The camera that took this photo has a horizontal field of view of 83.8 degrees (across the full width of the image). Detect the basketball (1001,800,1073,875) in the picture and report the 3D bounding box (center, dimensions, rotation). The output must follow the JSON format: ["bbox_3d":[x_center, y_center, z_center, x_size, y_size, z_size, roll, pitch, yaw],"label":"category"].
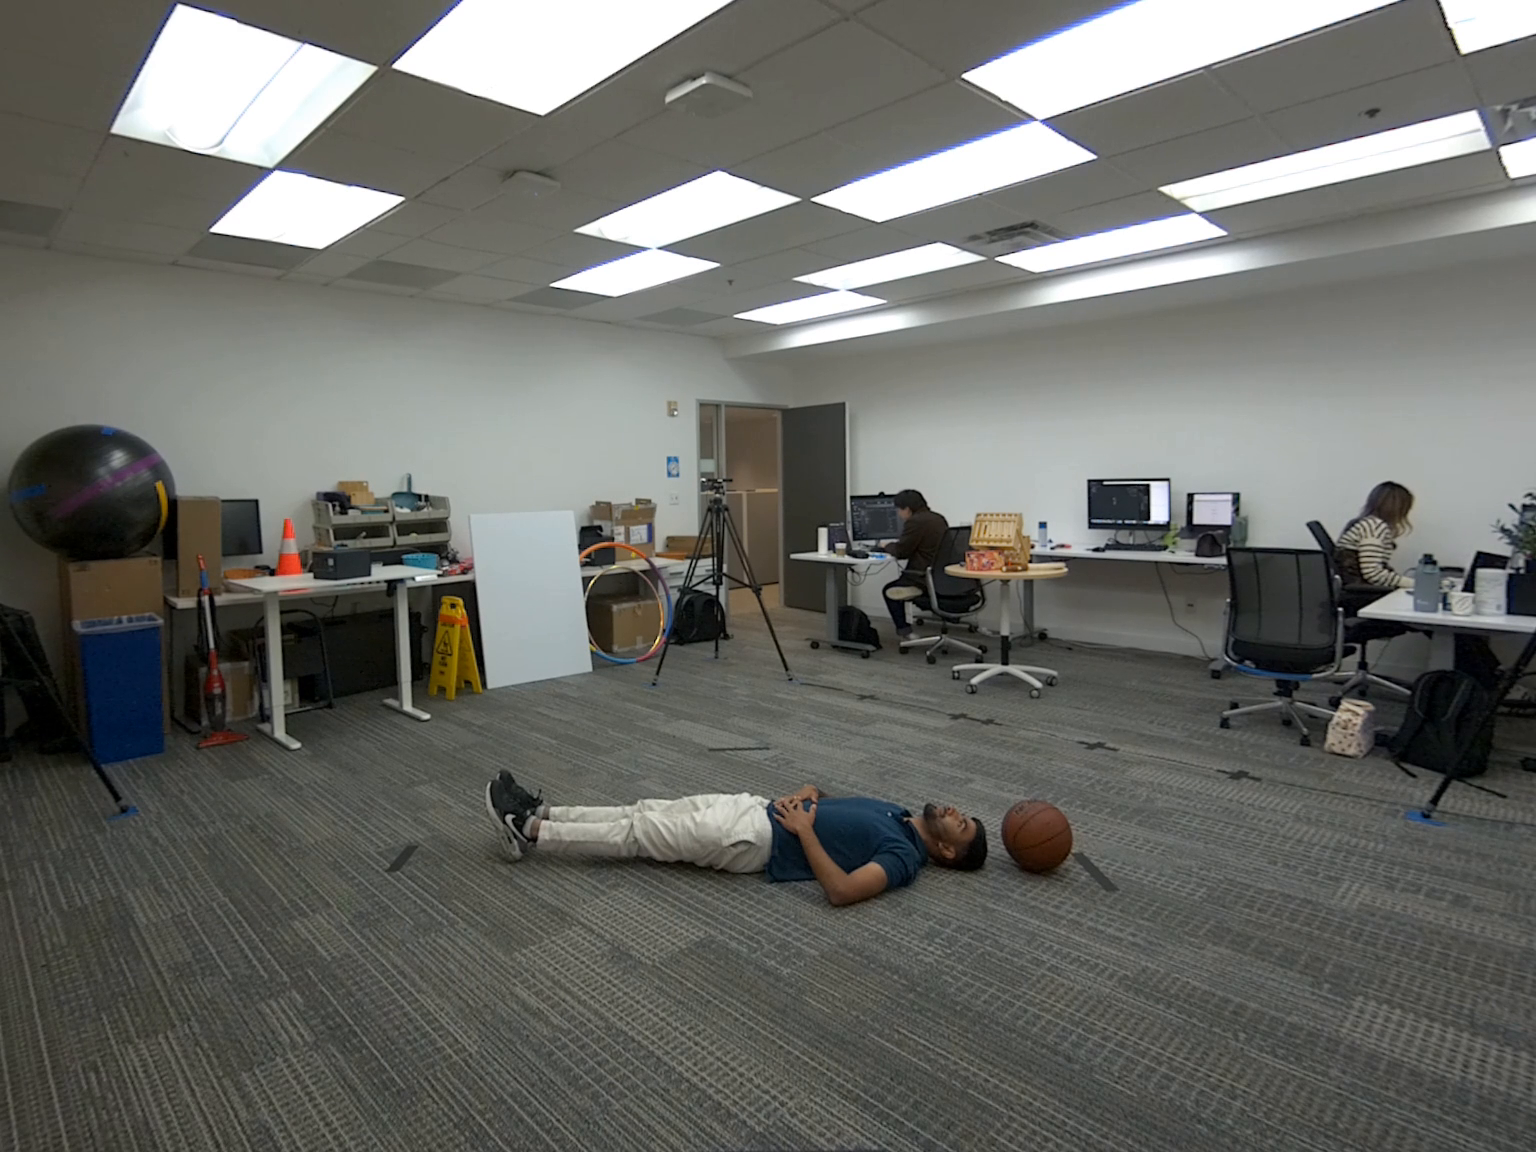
[{"bbox_3d":[0.958,0.916,3.027,0.236,0.235,0.237,-1,5,-2],"label":"basketball"}]
